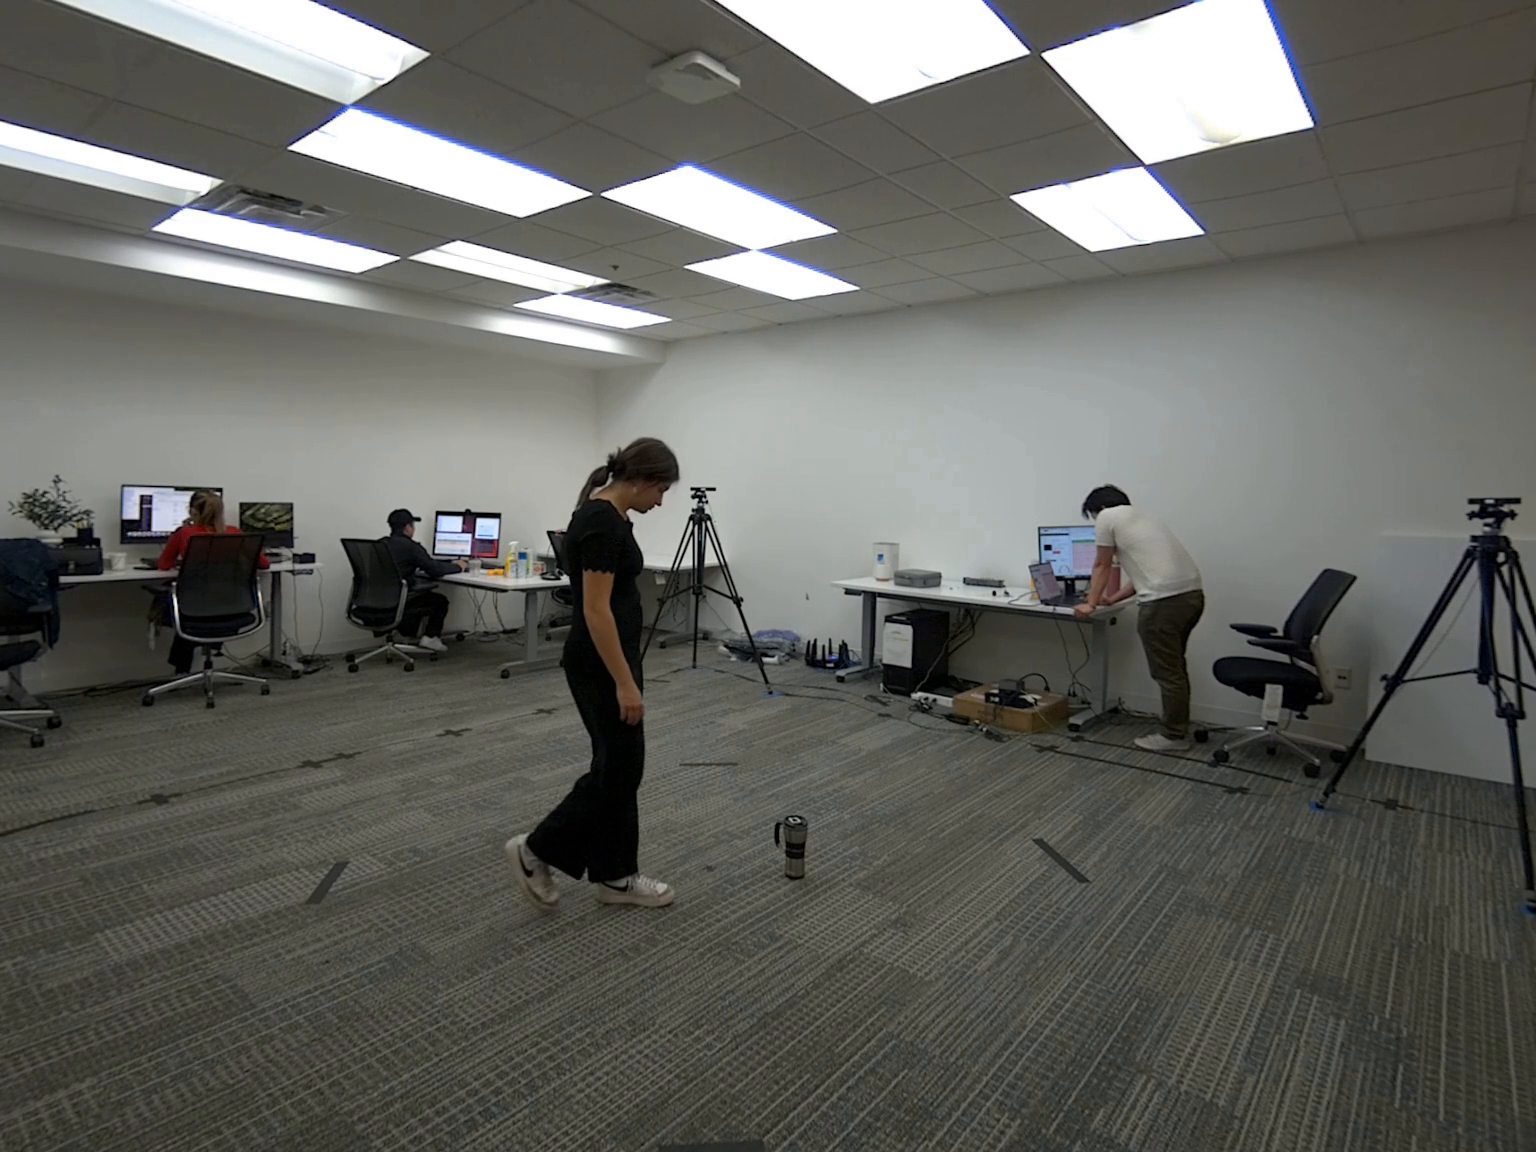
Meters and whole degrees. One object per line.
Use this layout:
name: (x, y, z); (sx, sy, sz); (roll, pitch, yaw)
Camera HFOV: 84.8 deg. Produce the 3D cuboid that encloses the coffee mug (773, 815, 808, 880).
coffee mug: (0.077, 0.973, 3.083); (0.085, 0.201, 0.126); (-6, 9, -39)
